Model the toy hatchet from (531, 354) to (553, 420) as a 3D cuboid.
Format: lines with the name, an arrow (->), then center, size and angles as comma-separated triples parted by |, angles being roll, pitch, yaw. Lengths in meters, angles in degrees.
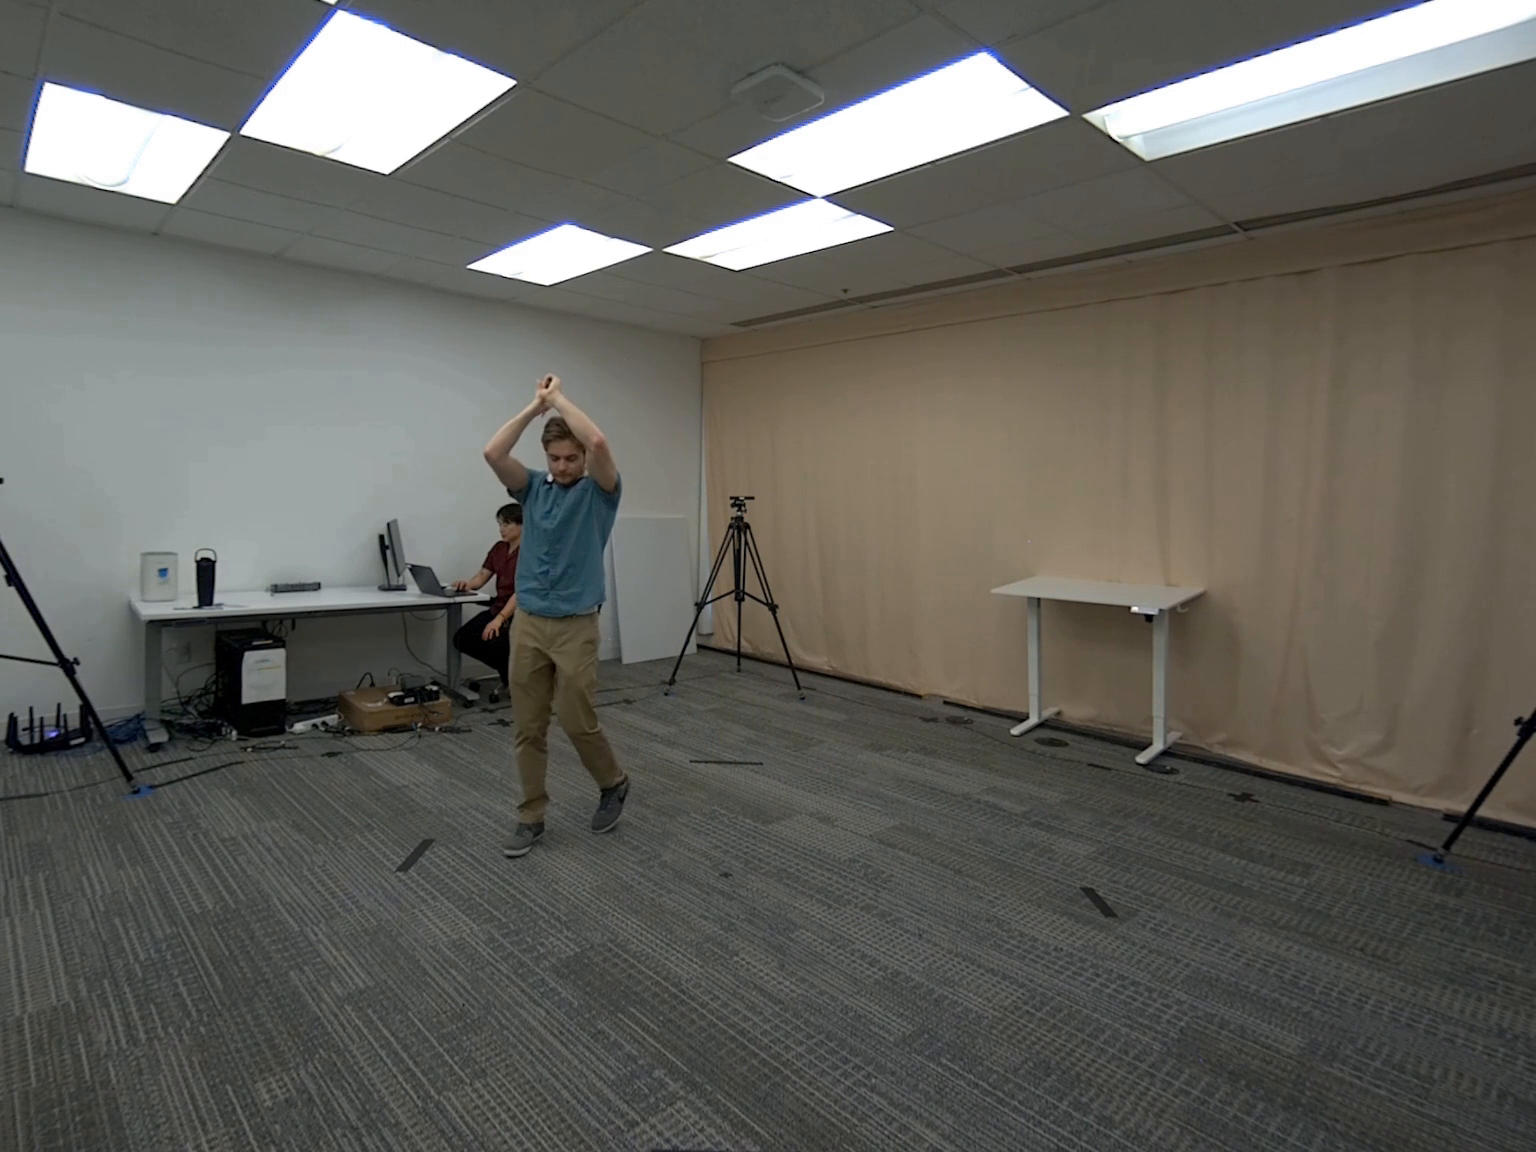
toy hatchet -> -0.887, -0.743, 3.337 | 0.029, 0.132, 0.268 | 14, -21, -5
